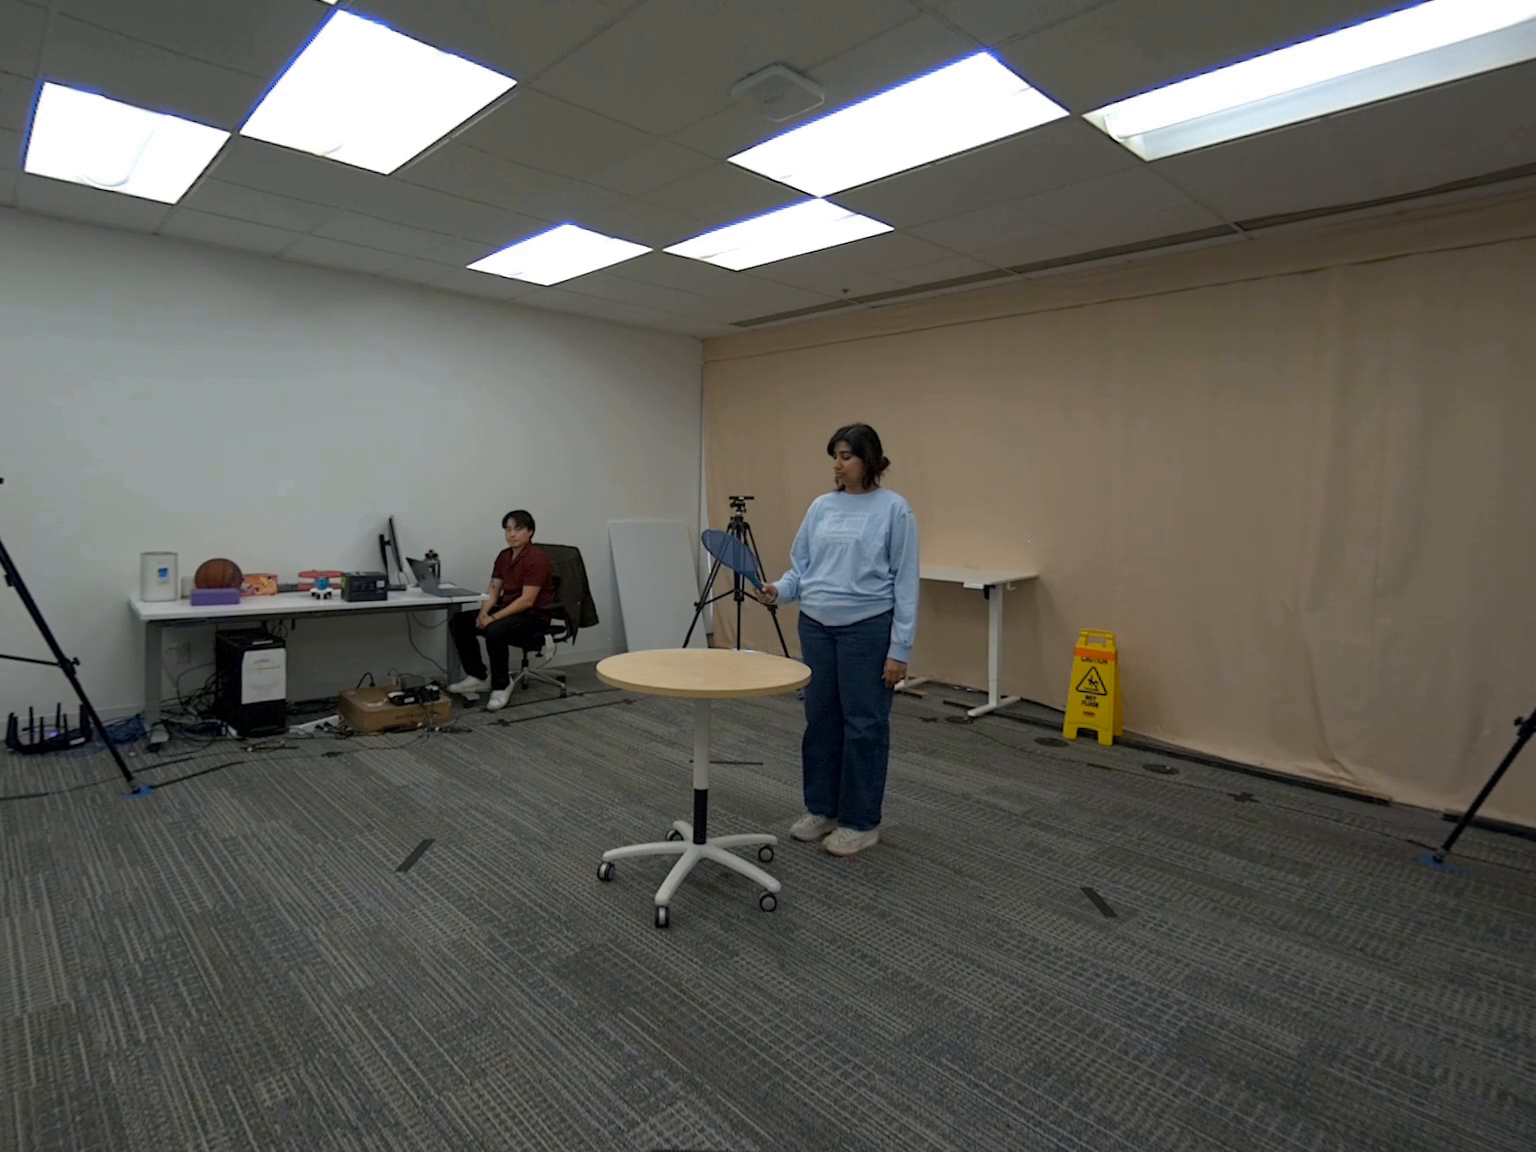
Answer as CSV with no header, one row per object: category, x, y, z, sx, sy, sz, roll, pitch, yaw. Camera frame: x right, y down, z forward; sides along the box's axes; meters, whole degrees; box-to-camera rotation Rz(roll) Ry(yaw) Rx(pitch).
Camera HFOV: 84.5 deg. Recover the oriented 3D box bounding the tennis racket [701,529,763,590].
tennis racket,-0.107,-0.031,3.178,0.219,0.032,0.420,0,-38,44
